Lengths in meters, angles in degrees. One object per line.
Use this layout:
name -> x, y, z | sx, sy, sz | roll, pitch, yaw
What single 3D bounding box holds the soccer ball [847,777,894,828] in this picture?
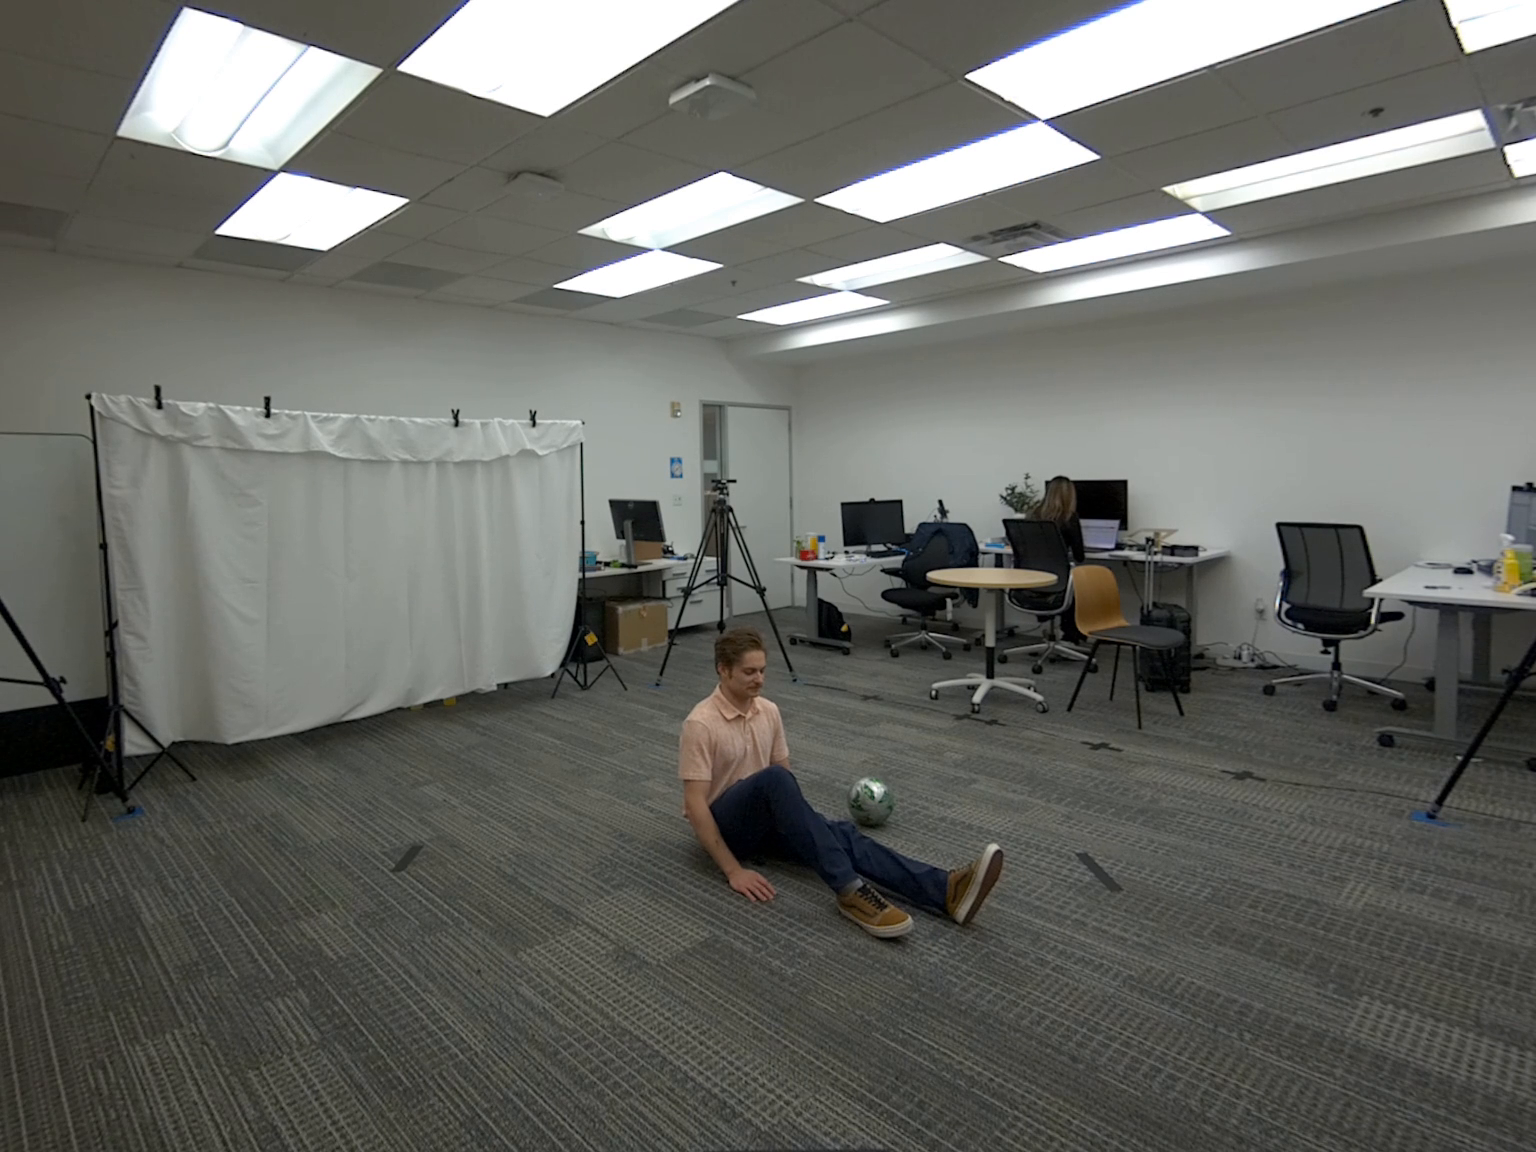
soccer ball -> 0.409, 0.904, 3.442 | 0.187, 0.187, 0.188 | -1, 5, -2
